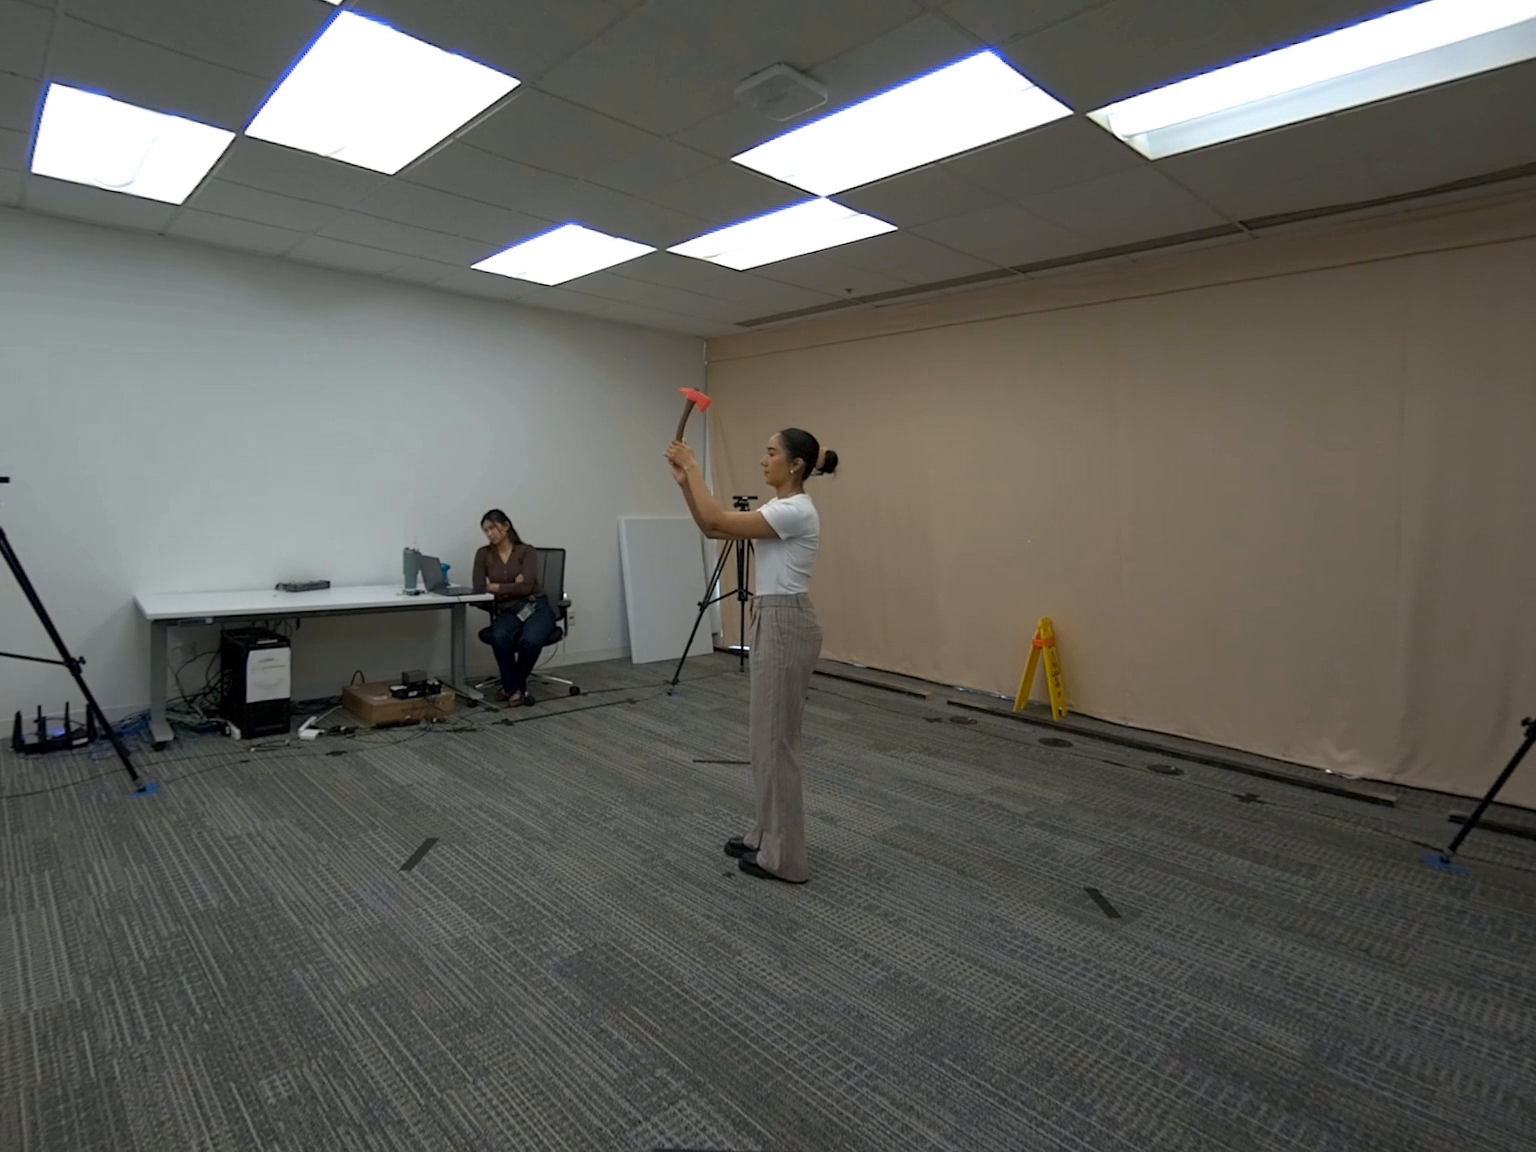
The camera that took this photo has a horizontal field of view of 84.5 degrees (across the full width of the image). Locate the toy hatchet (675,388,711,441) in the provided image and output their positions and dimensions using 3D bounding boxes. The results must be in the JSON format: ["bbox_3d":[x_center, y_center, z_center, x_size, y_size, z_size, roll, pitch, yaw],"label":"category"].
[{"bbox_3d":[-0.291,-0.581,3.172,0.131,0.270,0.029,4,-1,5],"label":"toy hatchet"}]
